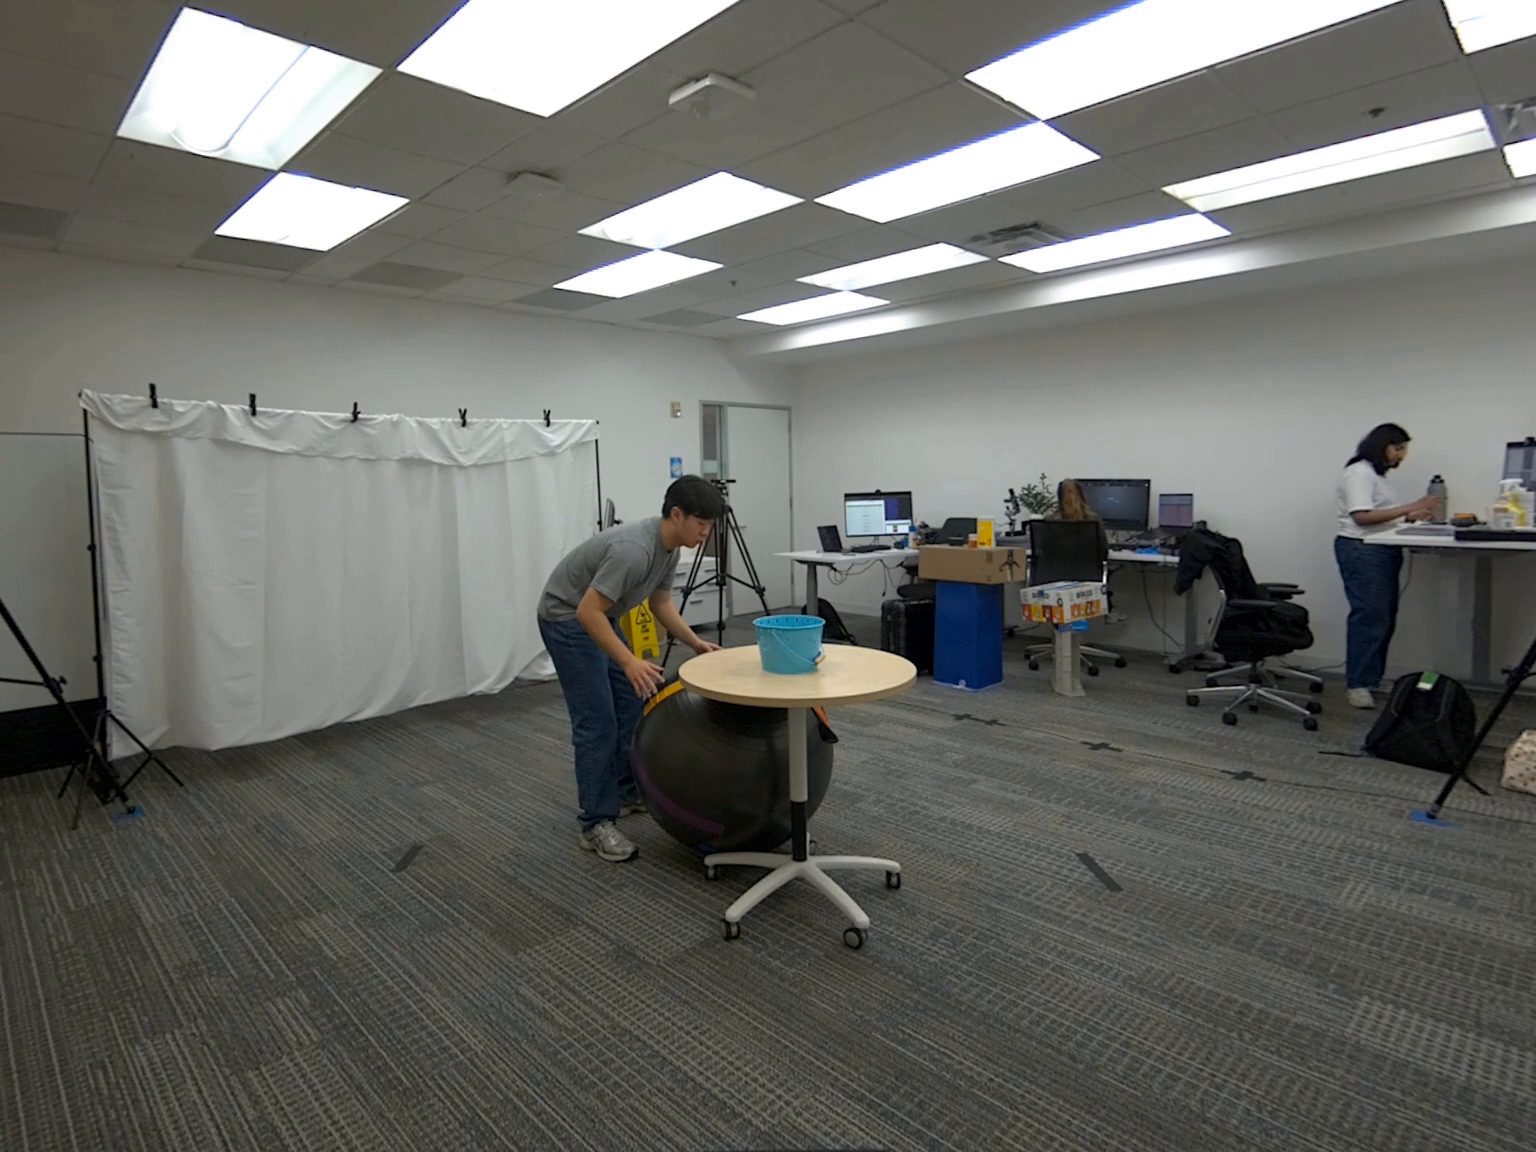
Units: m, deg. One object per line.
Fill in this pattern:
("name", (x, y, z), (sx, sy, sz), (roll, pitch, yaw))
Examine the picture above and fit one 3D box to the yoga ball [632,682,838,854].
("yoga ball", (-0.135, 0.664, 3.243), (0.757, 0.755, 0.762), (-1, 5, -2))
